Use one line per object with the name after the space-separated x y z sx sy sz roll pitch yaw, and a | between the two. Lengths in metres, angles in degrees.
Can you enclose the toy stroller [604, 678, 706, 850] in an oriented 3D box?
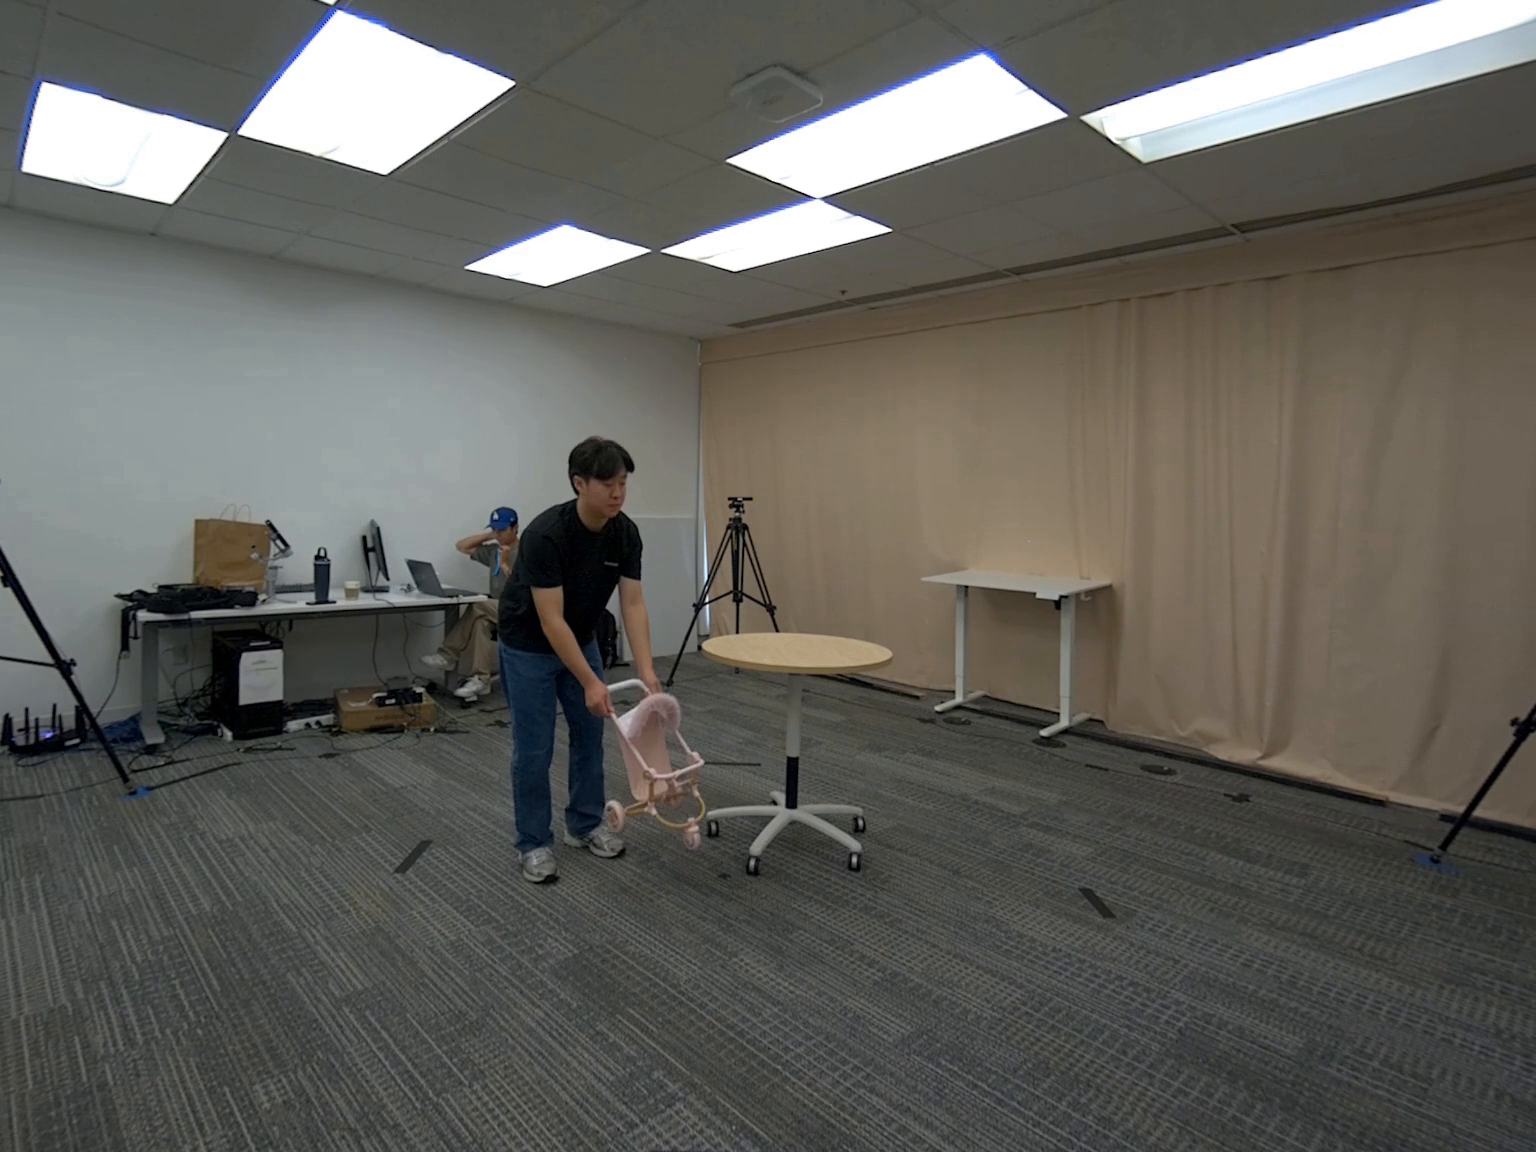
-0.376 0.629 2.810 0.275 0.535 0.348 -6 -1 -41 | toy stroller
